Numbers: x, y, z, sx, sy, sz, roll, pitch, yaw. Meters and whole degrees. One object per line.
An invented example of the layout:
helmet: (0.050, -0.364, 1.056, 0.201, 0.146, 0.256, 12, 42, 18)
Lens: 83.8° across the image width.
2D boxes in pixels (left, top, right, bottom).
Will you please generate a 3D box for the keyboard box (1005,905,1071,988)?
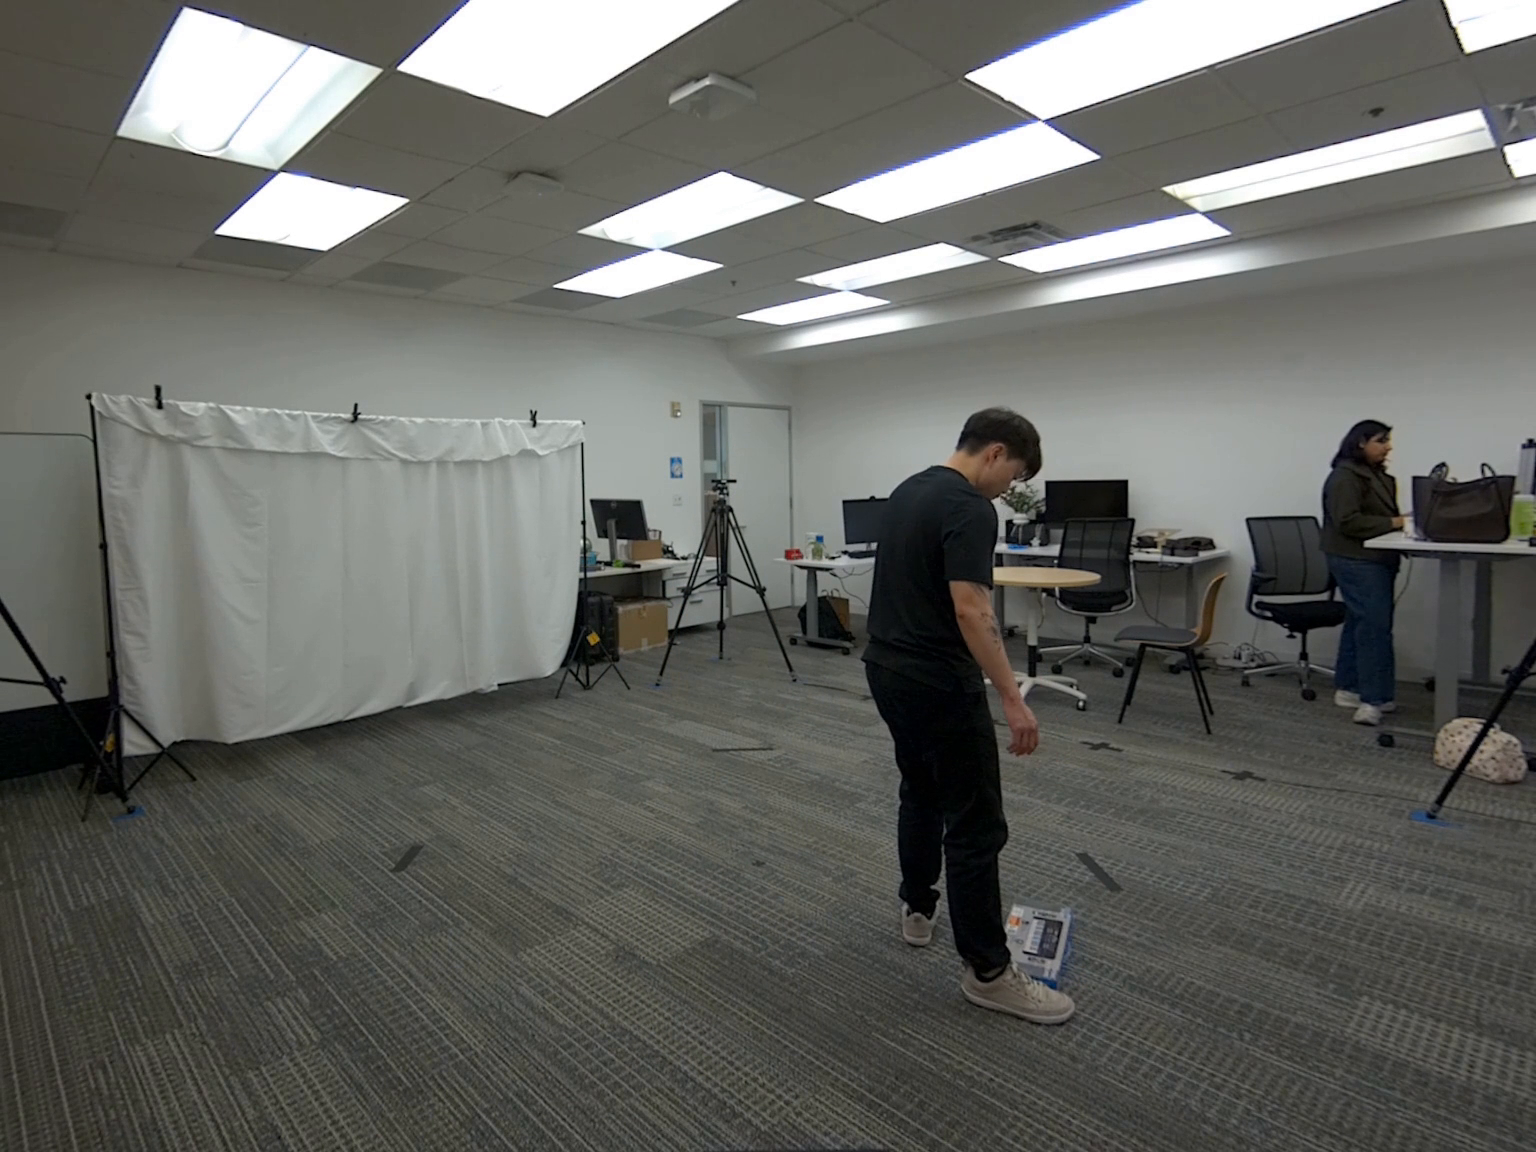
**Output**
keyboard box: (0.777, 1.071, 2.491, 0.180, 0.059, 0.429, 1, 7, 24)
